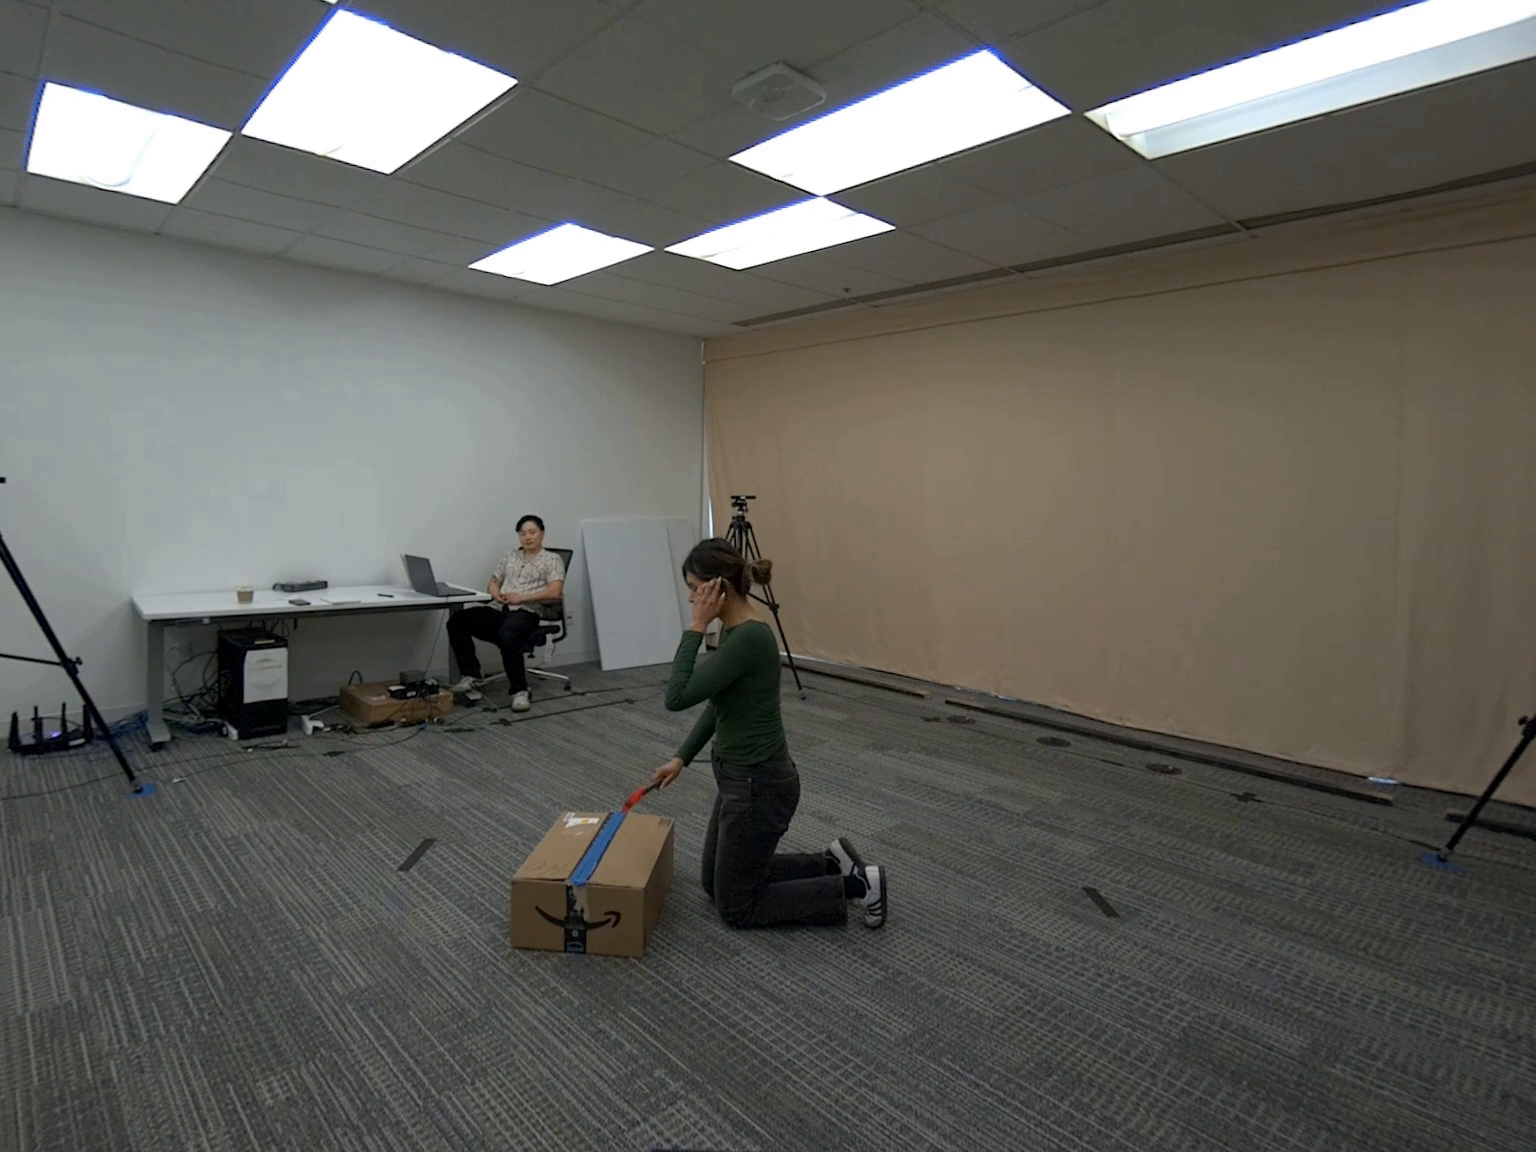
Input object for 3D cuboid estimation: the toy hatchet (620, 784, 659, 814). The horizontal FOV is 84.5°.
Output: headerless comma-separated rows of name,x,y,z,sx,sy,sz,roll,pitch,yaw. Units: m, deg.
toy hatchet,-0.394,0.703,2.742,0.030,0.131,0.265,44,15,16
